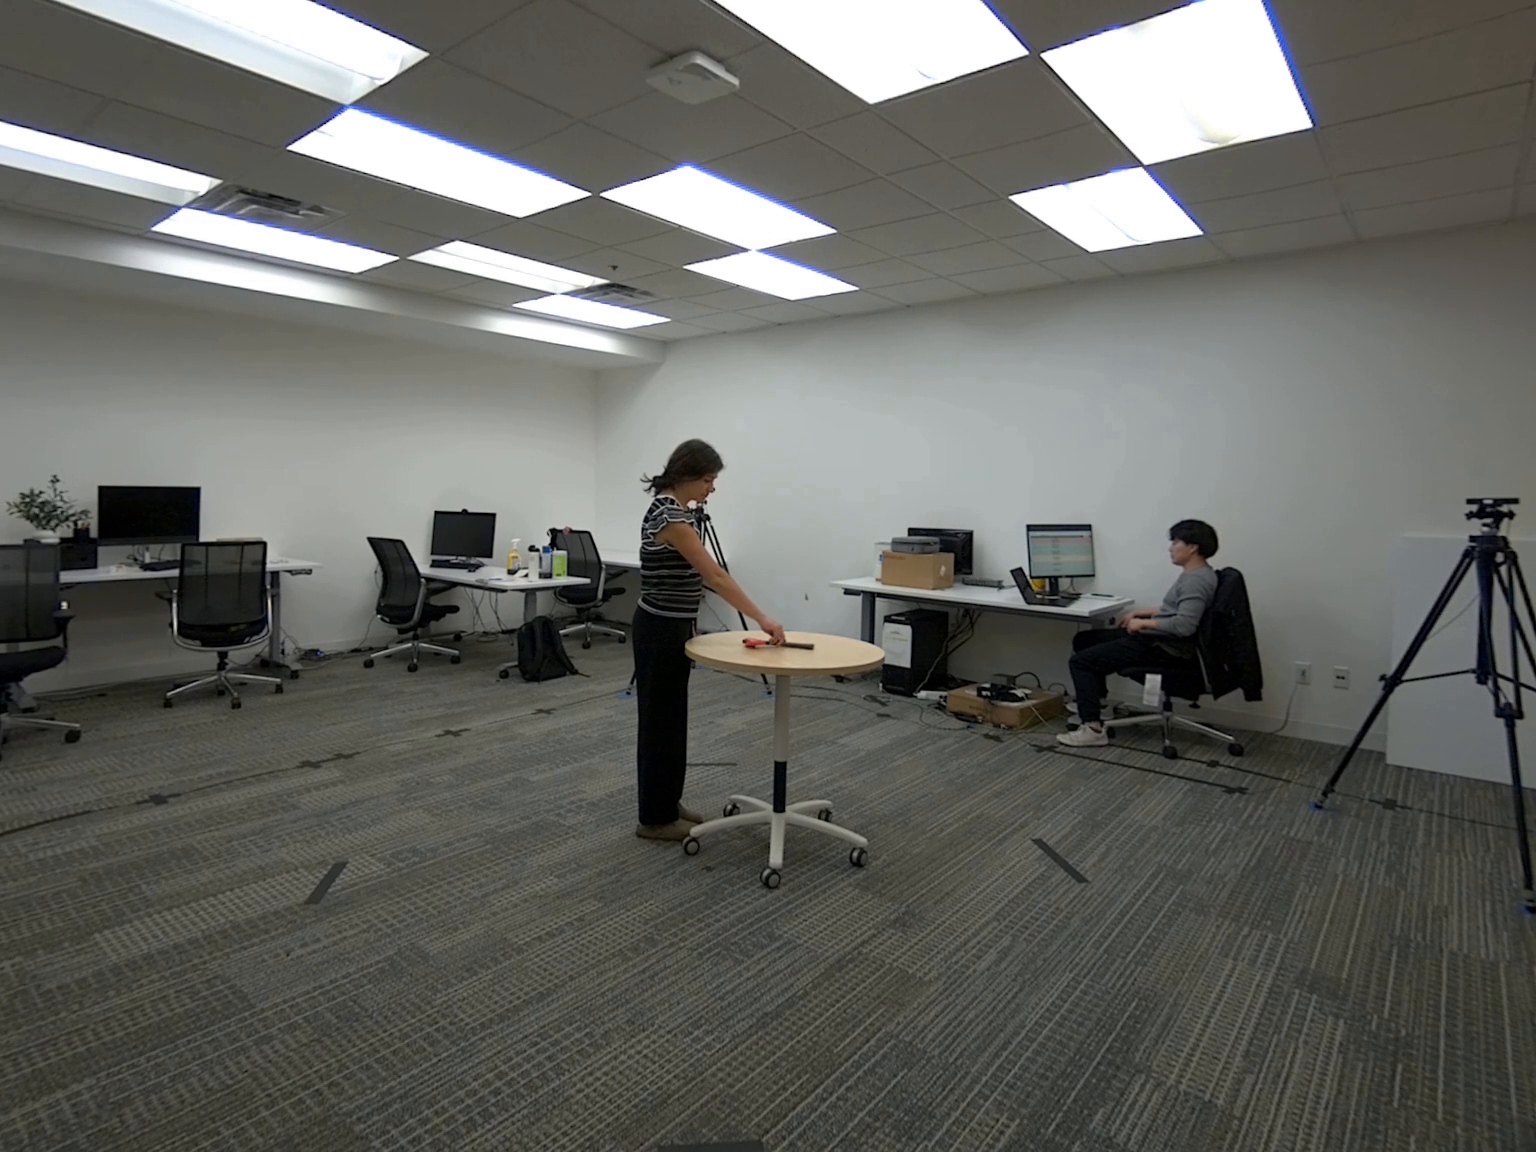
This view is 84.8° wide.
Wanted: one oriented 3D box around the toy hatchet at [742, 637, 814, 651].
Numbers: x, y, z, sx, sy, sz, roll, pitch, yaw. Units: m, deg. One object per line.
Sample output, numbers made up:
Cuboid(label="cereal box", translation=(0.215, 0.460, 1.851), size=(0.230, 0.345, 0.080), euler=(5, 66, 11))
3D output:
Cuboid(label="toy hatchet", translation=(0.036, 0.256, 3.260), size=(0.274, 0.030, 0.128), euler=(2, -6, 12))
